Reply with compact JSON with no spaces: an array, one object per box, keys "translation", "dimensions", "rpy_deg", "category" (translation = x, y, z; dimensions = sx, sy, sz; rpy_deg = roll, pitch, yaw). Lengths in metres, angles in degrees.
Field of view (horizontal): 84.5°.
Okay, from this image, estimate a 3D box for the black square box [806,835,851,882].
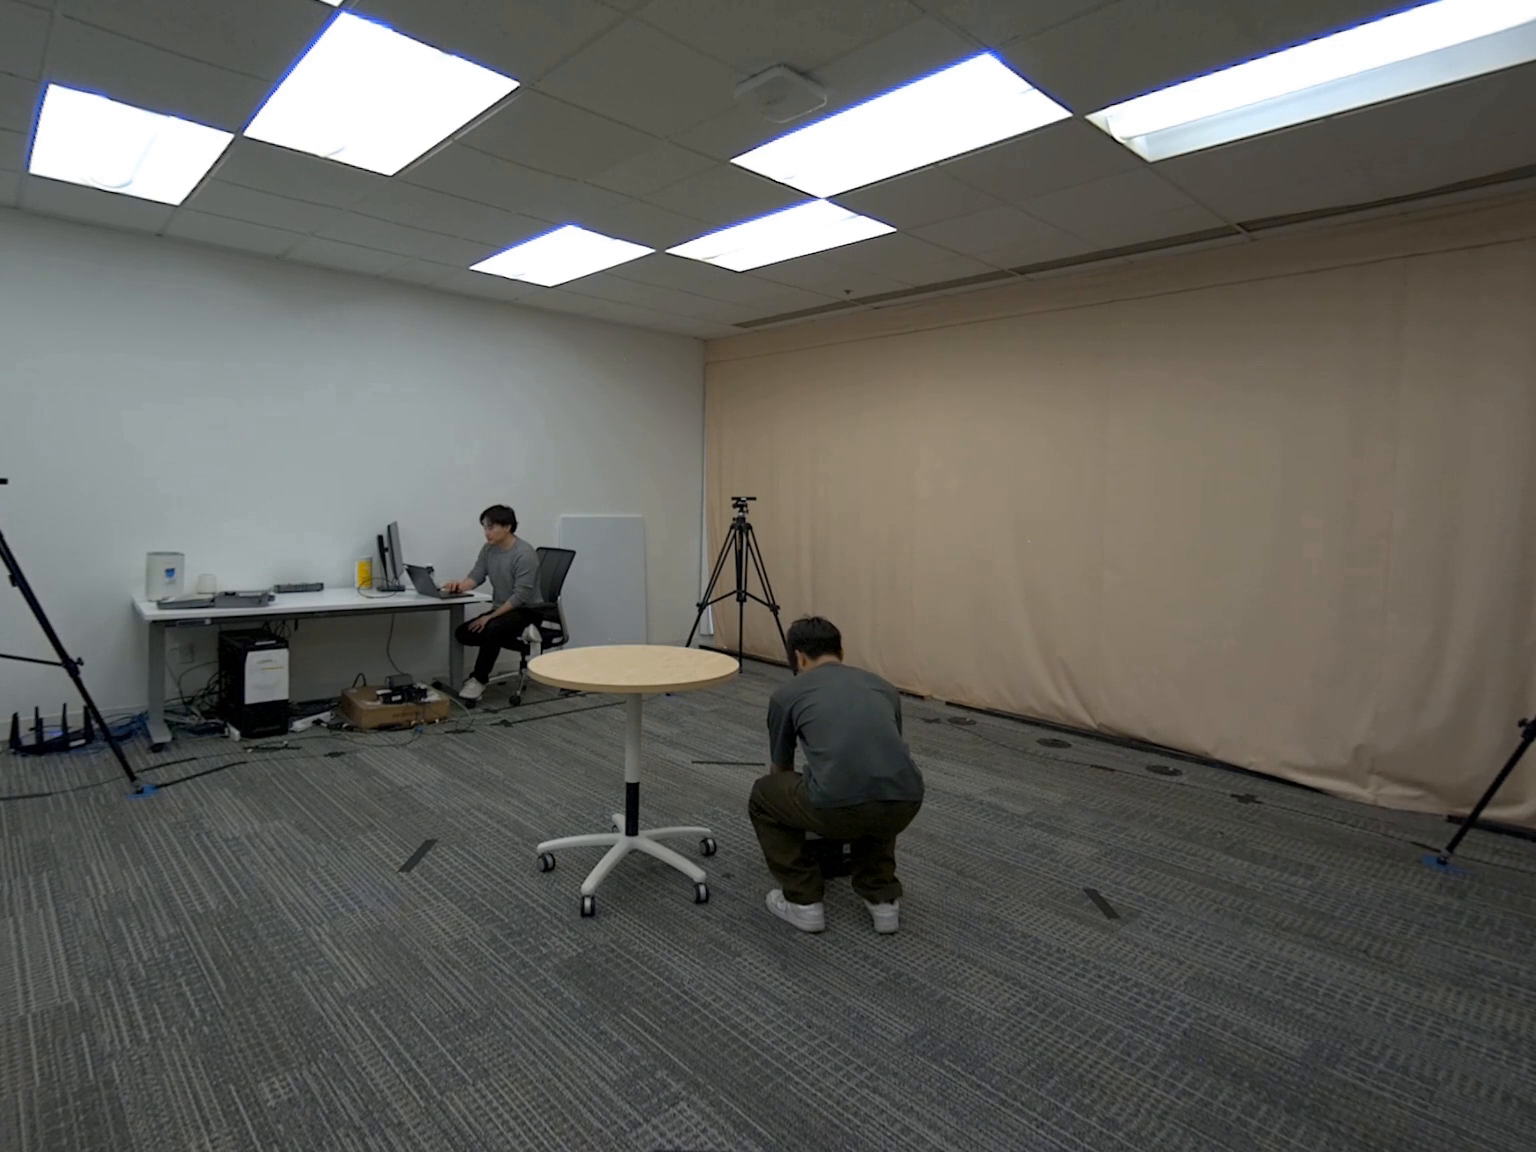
[{"translation":[0.189,1.024,3.202],"dimensions":[0.213,0.155,0.232],"rpy_deg":[0,4,-23],"category":"black square box"}]
